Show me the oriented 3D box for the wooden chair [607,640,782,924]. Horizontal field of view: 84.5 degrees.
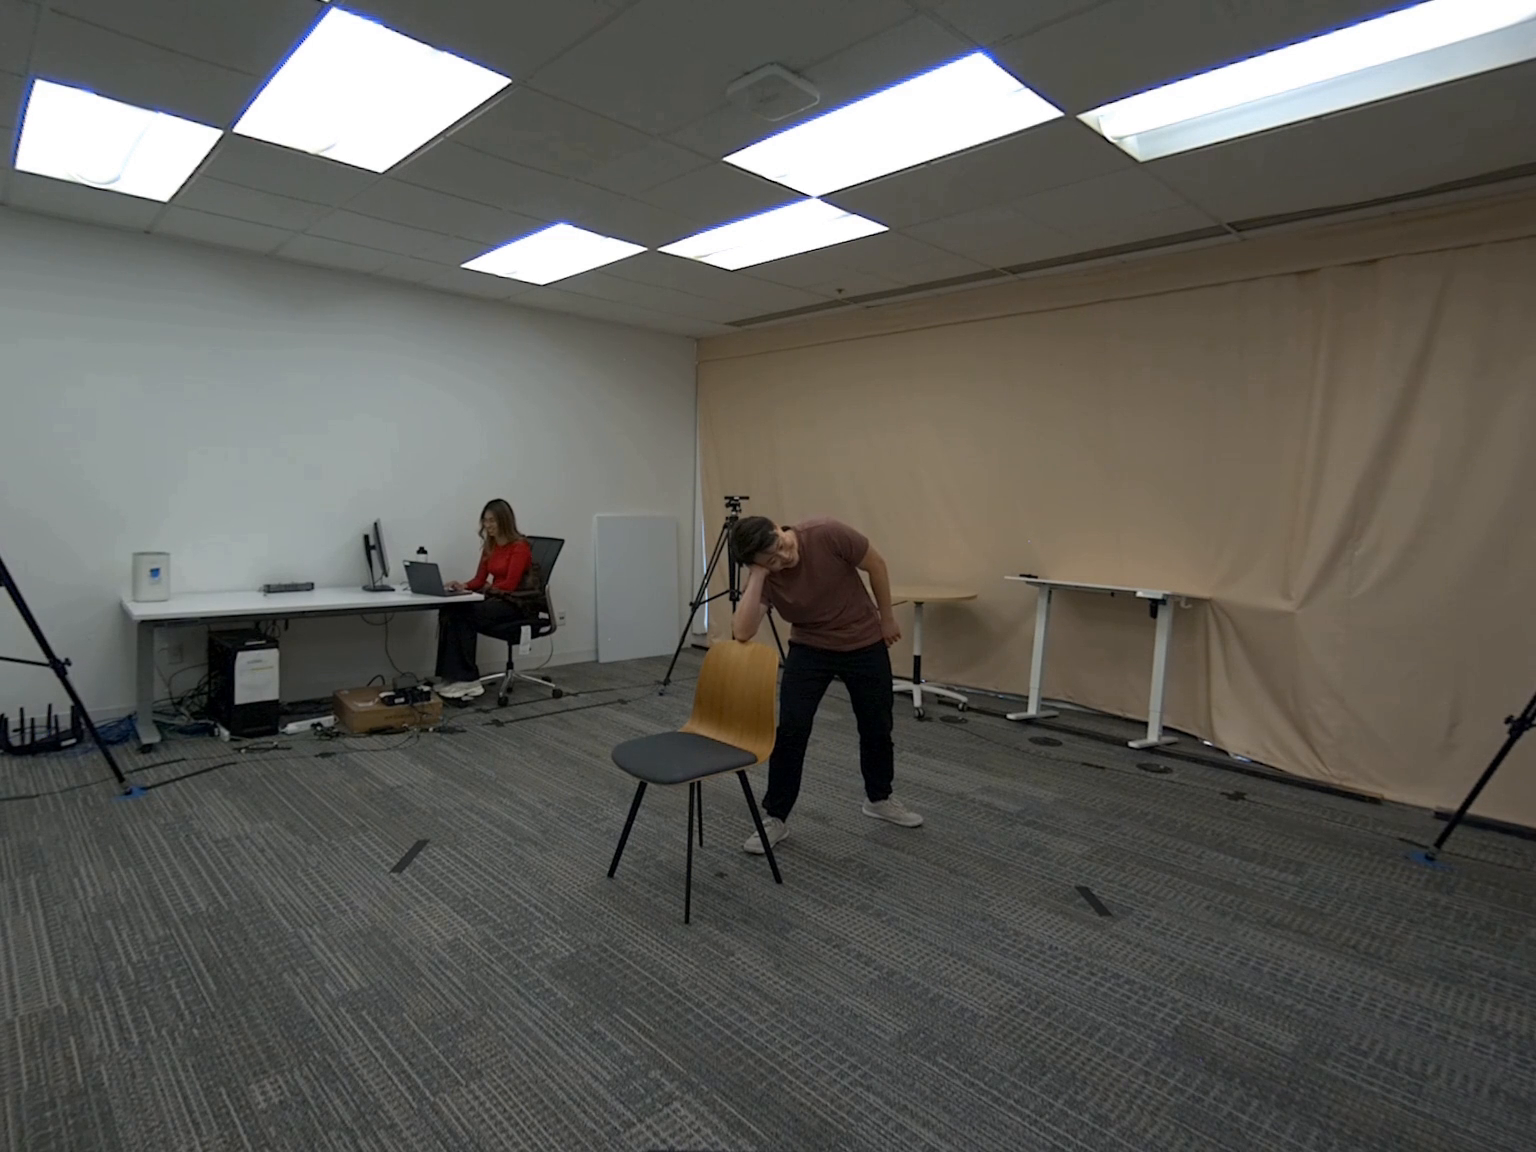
[{"bbox_3d":[-0.266,0.682,3.016,0.510,0.877,0.490,4,1,-44],"label":"wooden chair"}]
